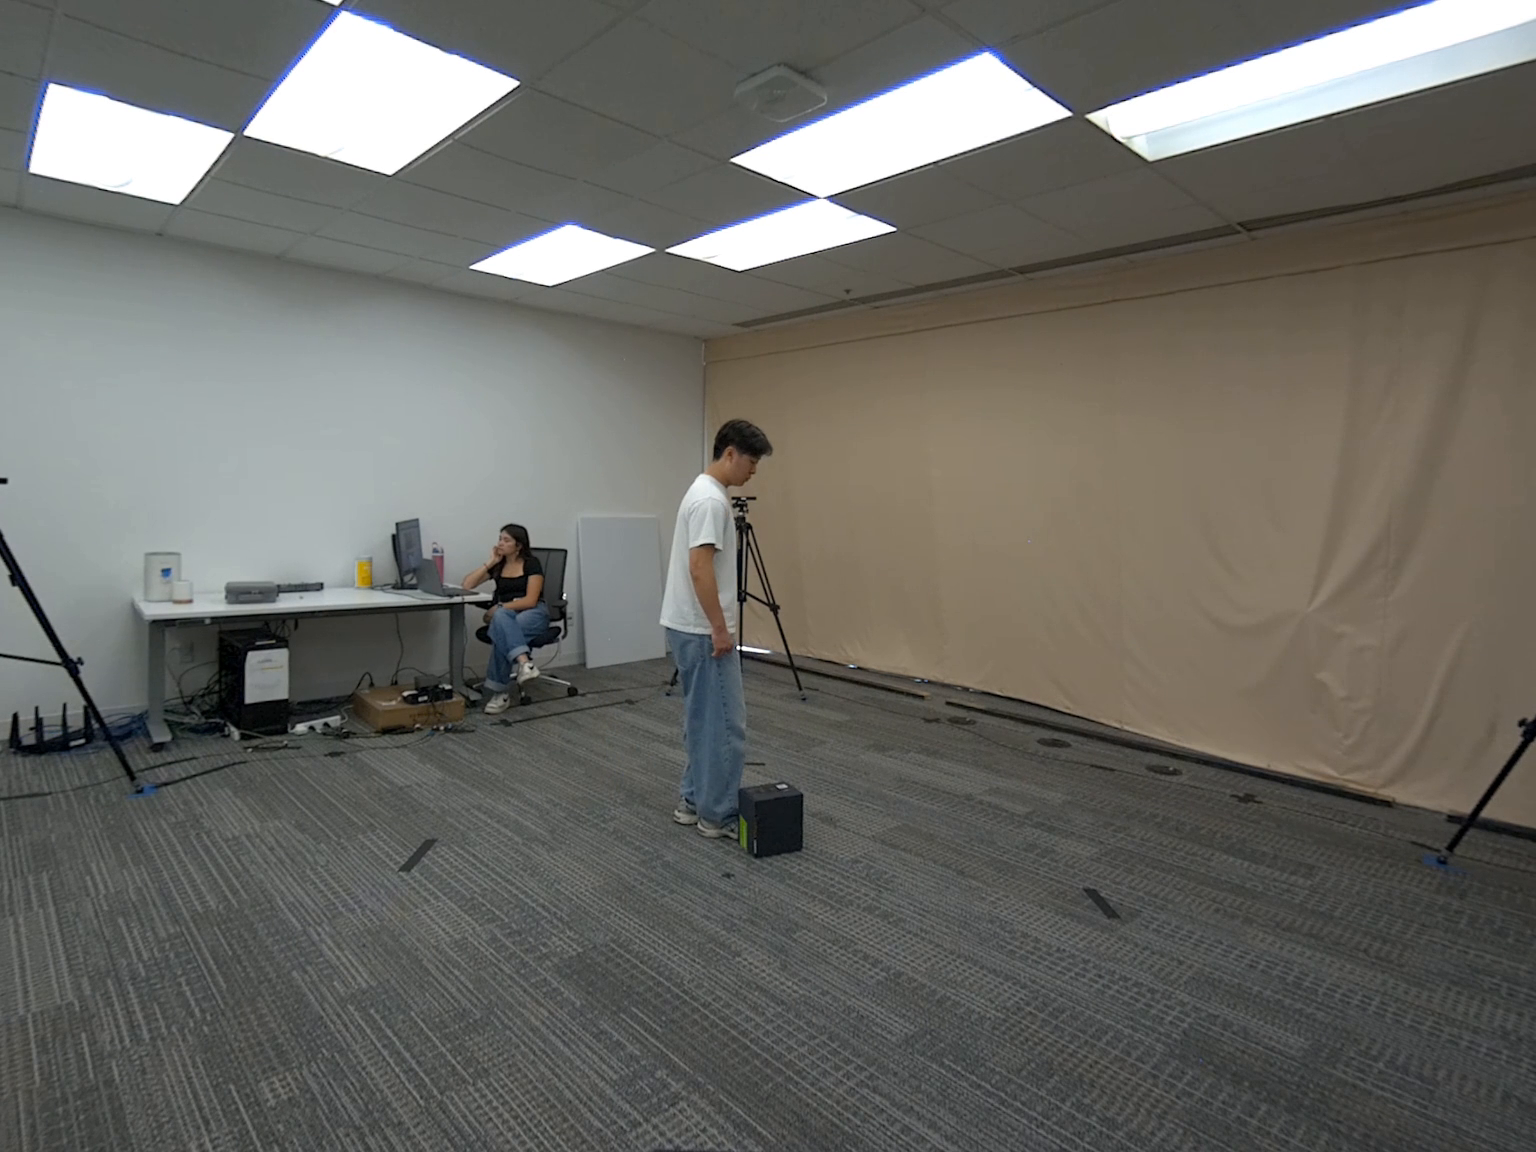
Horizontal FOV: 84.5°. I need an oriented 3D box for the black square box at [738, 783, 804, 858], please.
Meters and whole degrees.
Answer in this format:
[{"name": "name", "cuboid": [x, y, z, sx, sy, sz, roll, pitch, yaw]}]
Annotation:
[{"name": "black square box", "cuboid": [0.002, 0.966, 3.358, 0.213, 0.227, 0.159, -1, 4, -27]}]
